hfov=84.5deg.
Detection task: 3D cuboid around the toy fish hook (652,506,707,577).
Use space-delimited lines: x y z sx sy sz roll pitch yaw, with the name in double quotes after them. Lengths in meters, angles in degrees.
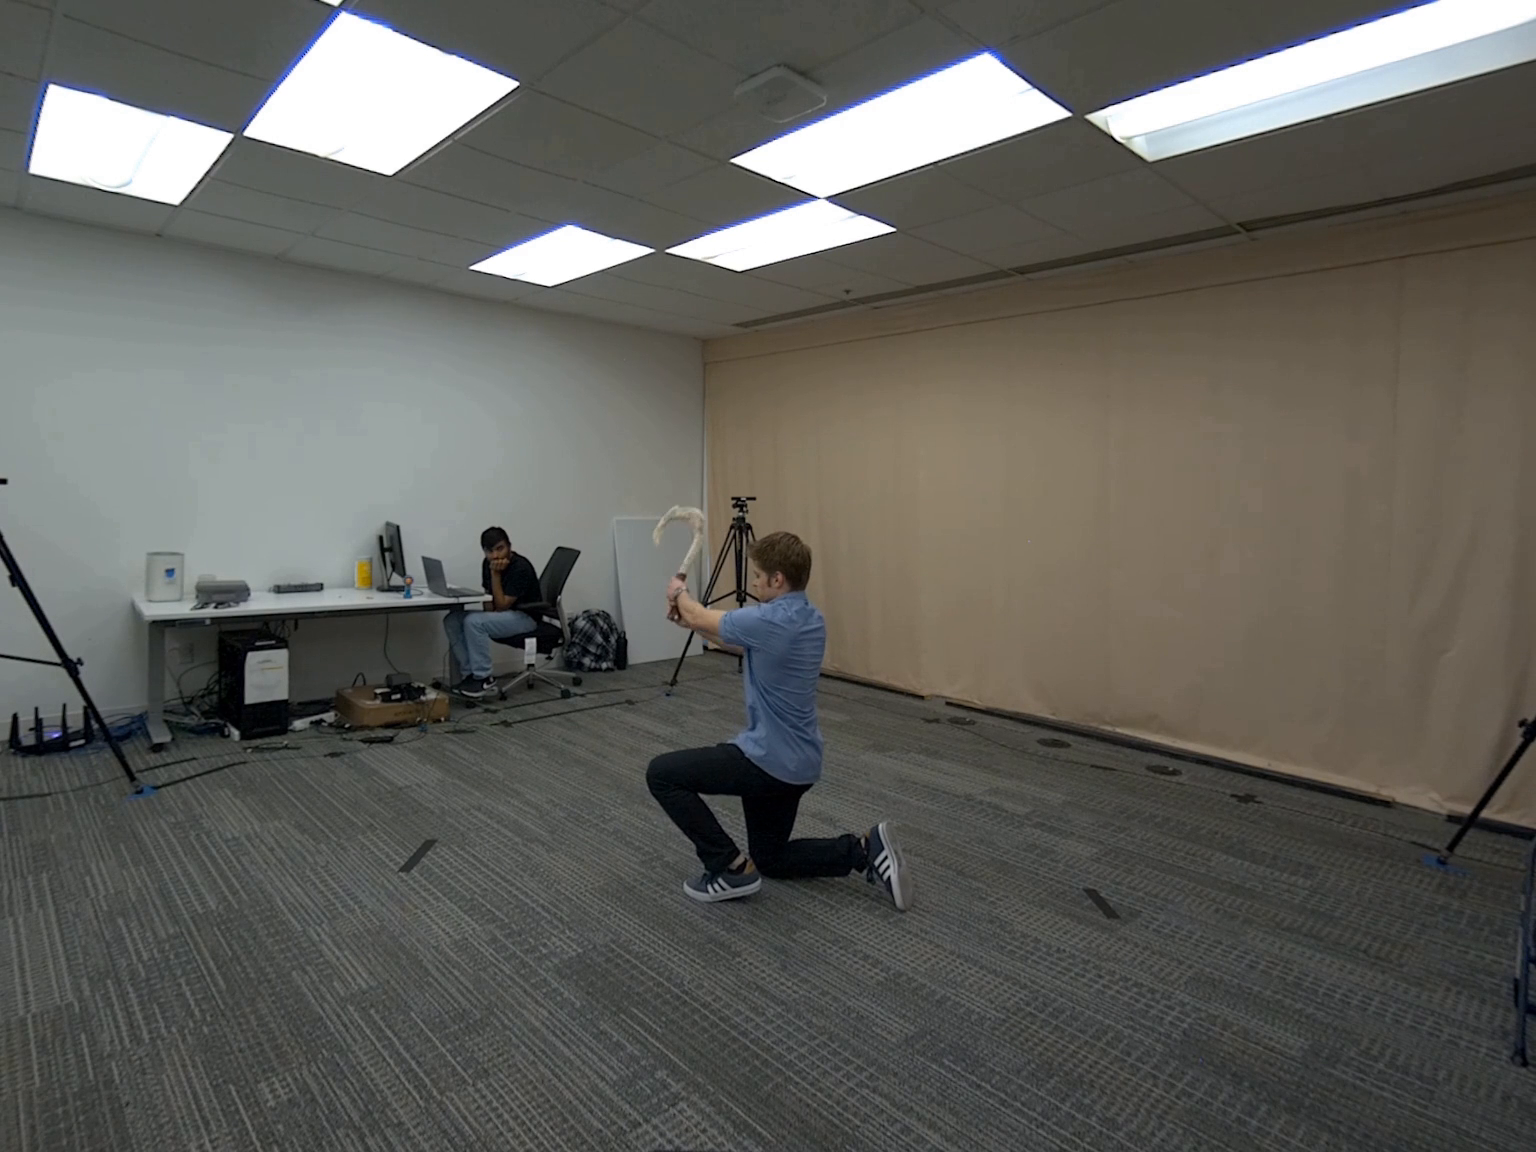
-0.386 -0.043 3.466 0.227 0.513 0.047 4 -24 13 "toy fish hook"
